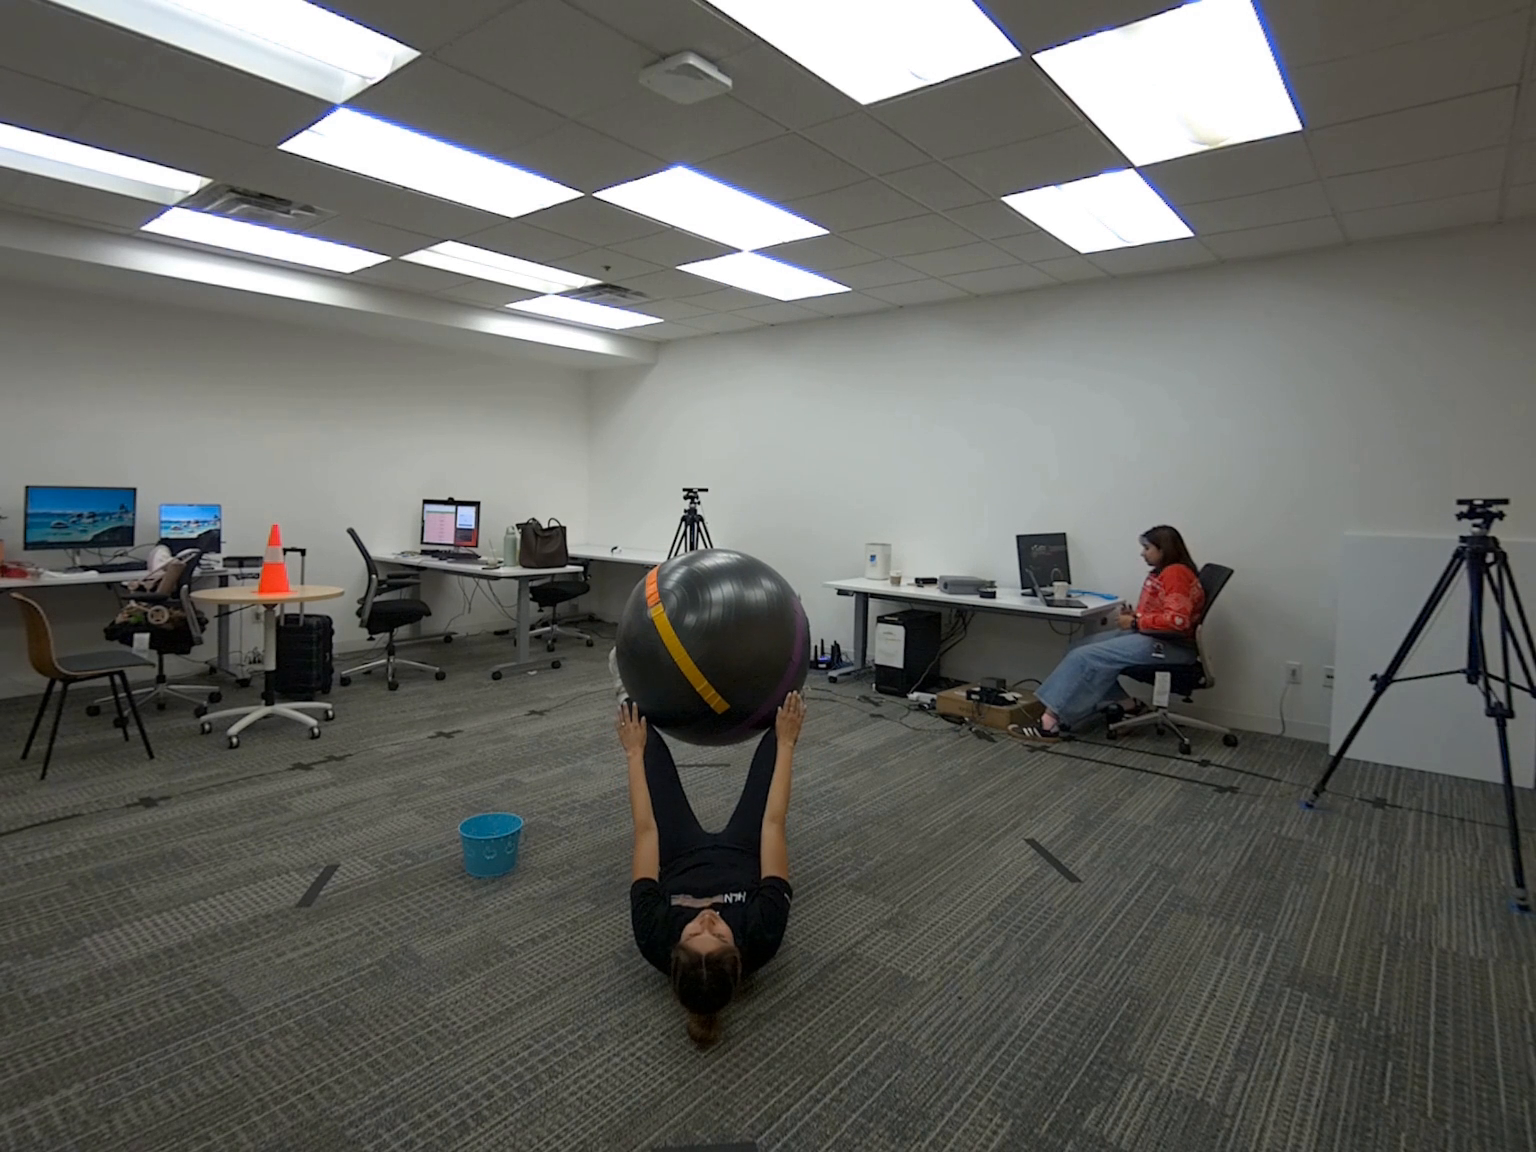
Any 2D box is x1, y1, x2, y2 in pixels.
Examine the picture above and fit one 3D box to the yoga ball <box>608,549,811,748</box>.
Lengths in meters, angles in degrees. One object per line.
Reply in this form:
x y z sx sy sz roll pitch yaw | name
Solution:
-0.213 0.271 3.295 0.757 0.756 0.762 1 4 -2 | yoga ball
